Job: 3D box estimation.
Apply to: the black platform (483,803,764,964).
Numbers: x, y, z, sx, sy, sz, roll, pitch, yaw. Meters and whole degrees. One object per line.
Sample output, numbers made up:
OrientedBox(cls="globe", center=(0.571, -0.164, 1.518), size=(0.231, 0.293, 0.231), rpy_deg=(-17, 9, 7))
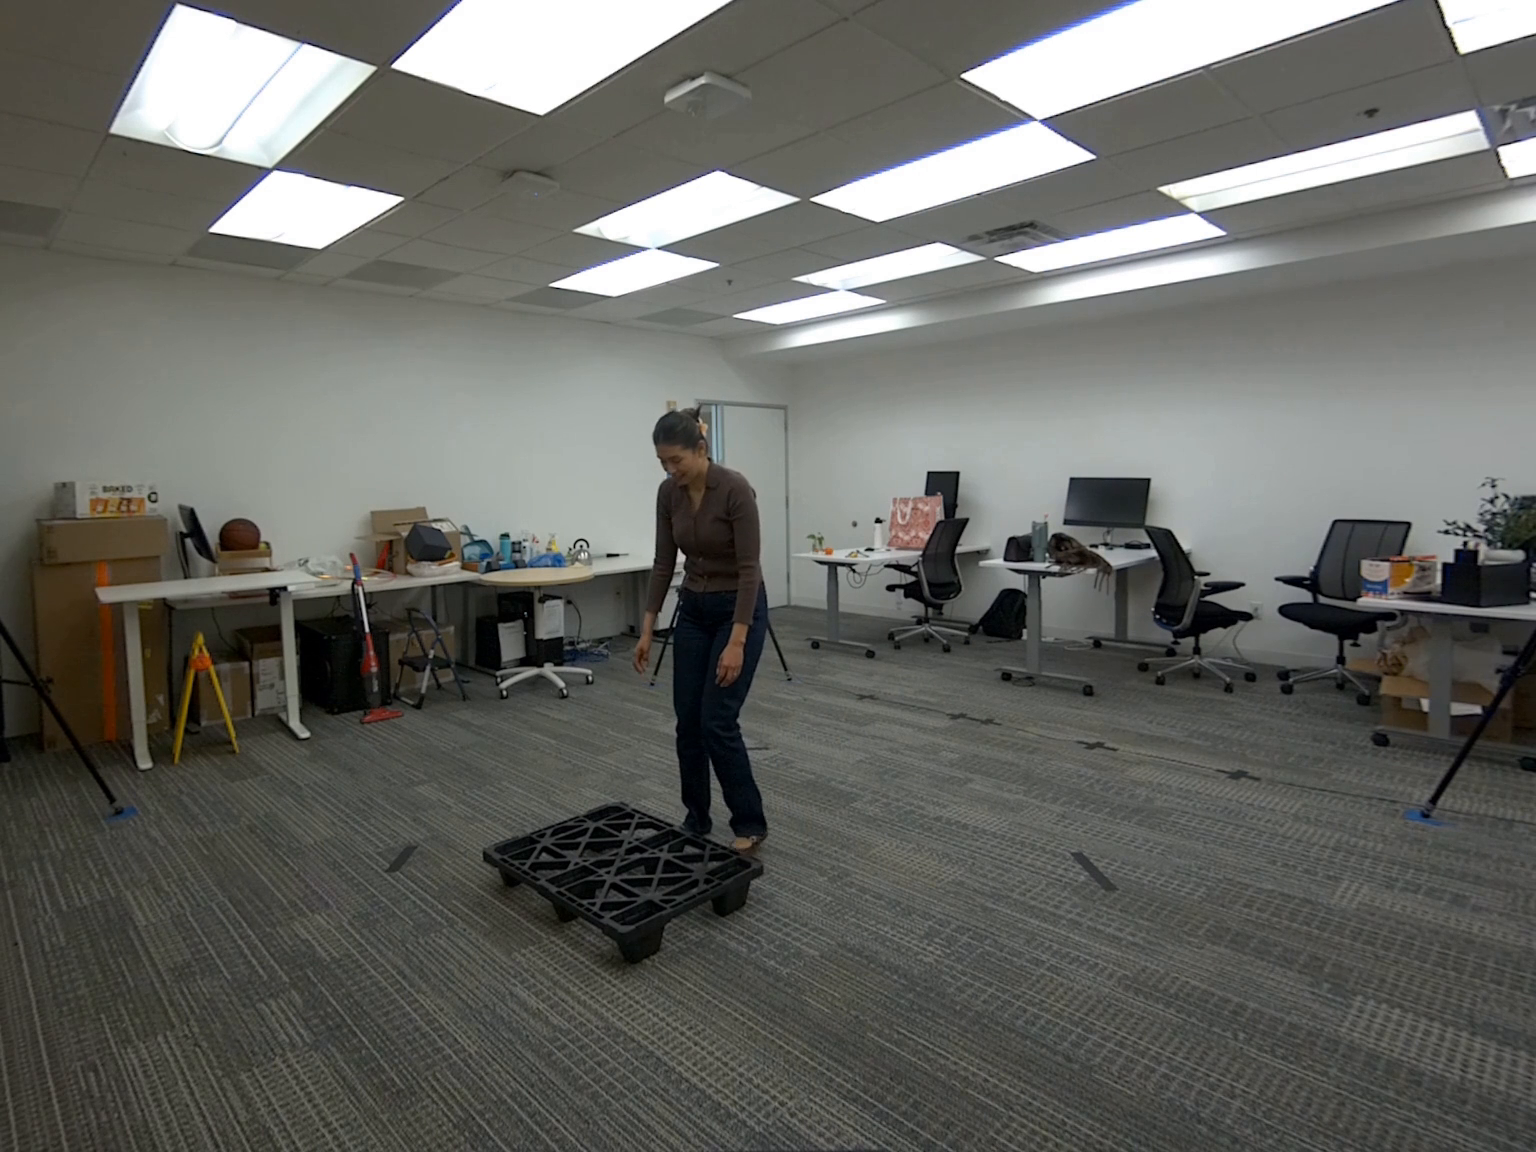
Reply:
OrientedBox(cls="black platform", center=(-0.499, 1.011, 2.895), size=(0.831, 0.142, 0.589), rpy_deg=(6, 9, 44))
